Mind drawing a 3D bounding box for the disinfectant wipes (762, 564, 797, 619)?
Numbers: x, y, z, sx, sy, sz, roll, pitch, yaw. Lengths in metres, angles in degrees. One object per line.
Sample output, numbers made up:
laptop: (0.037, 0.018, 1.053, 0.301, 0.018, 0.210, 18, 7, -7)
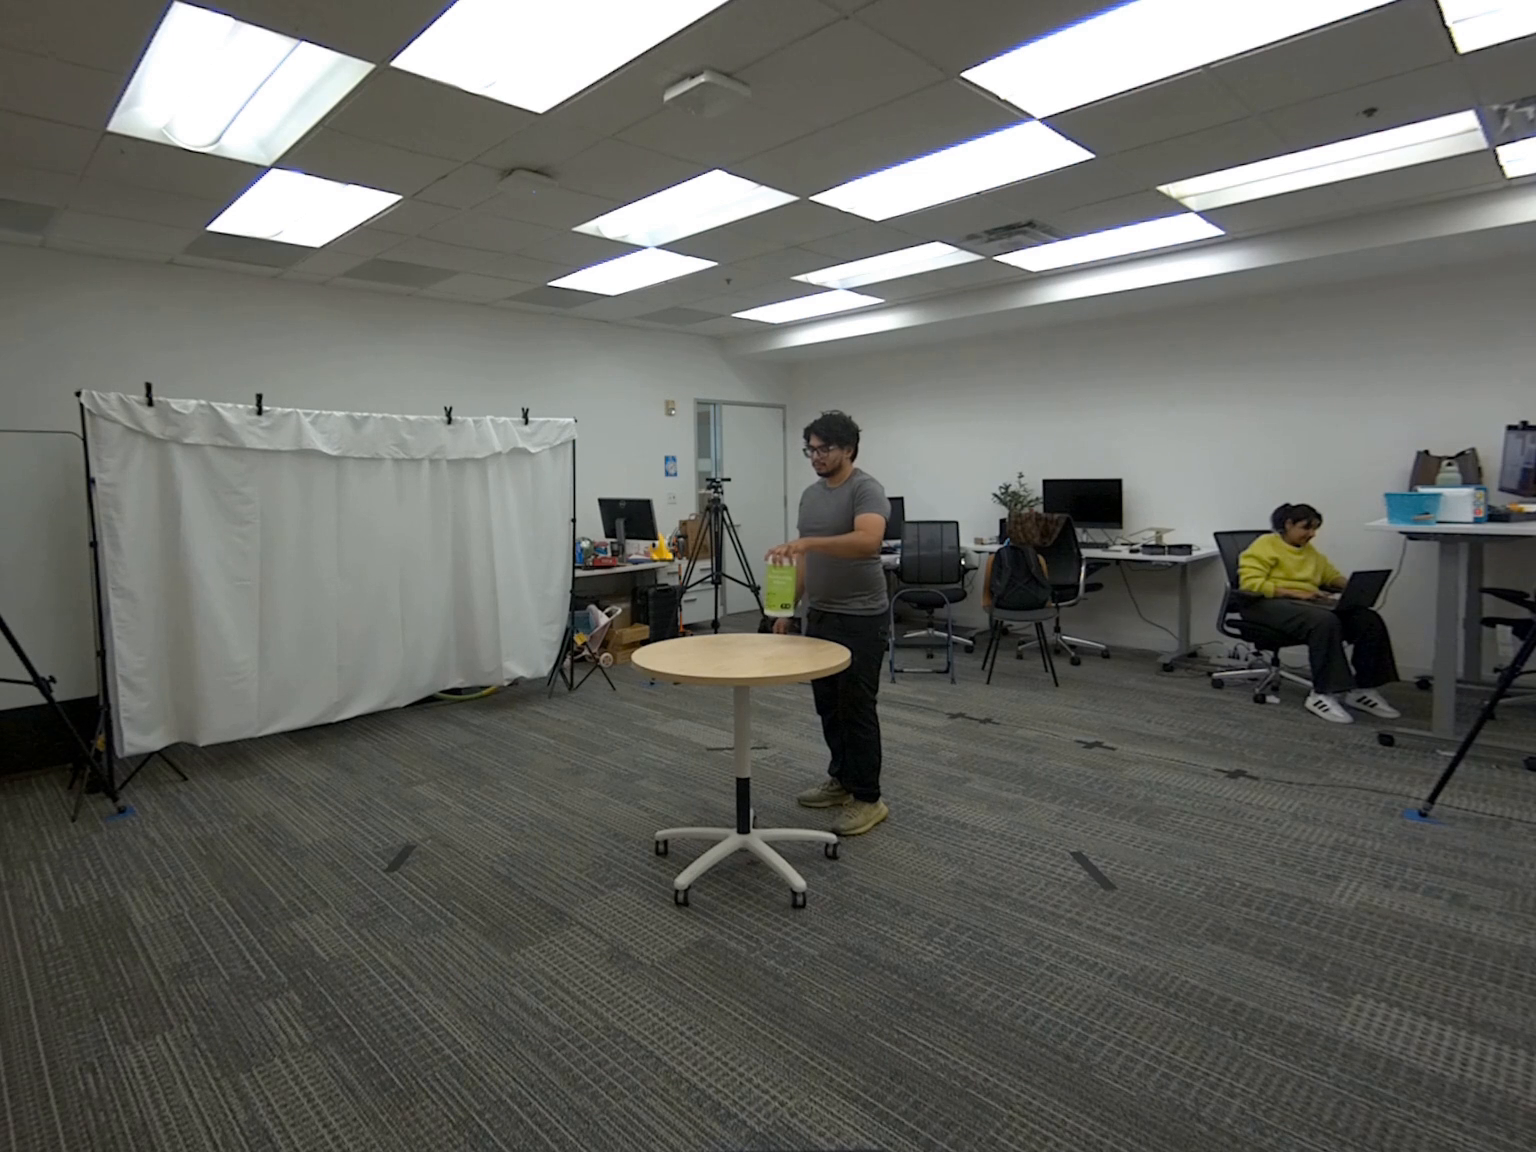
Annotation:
disinfectant wipes: (0.044, 0.038, 3.123, 0.118, 0.217, 0.118, 3, 2, -2)
